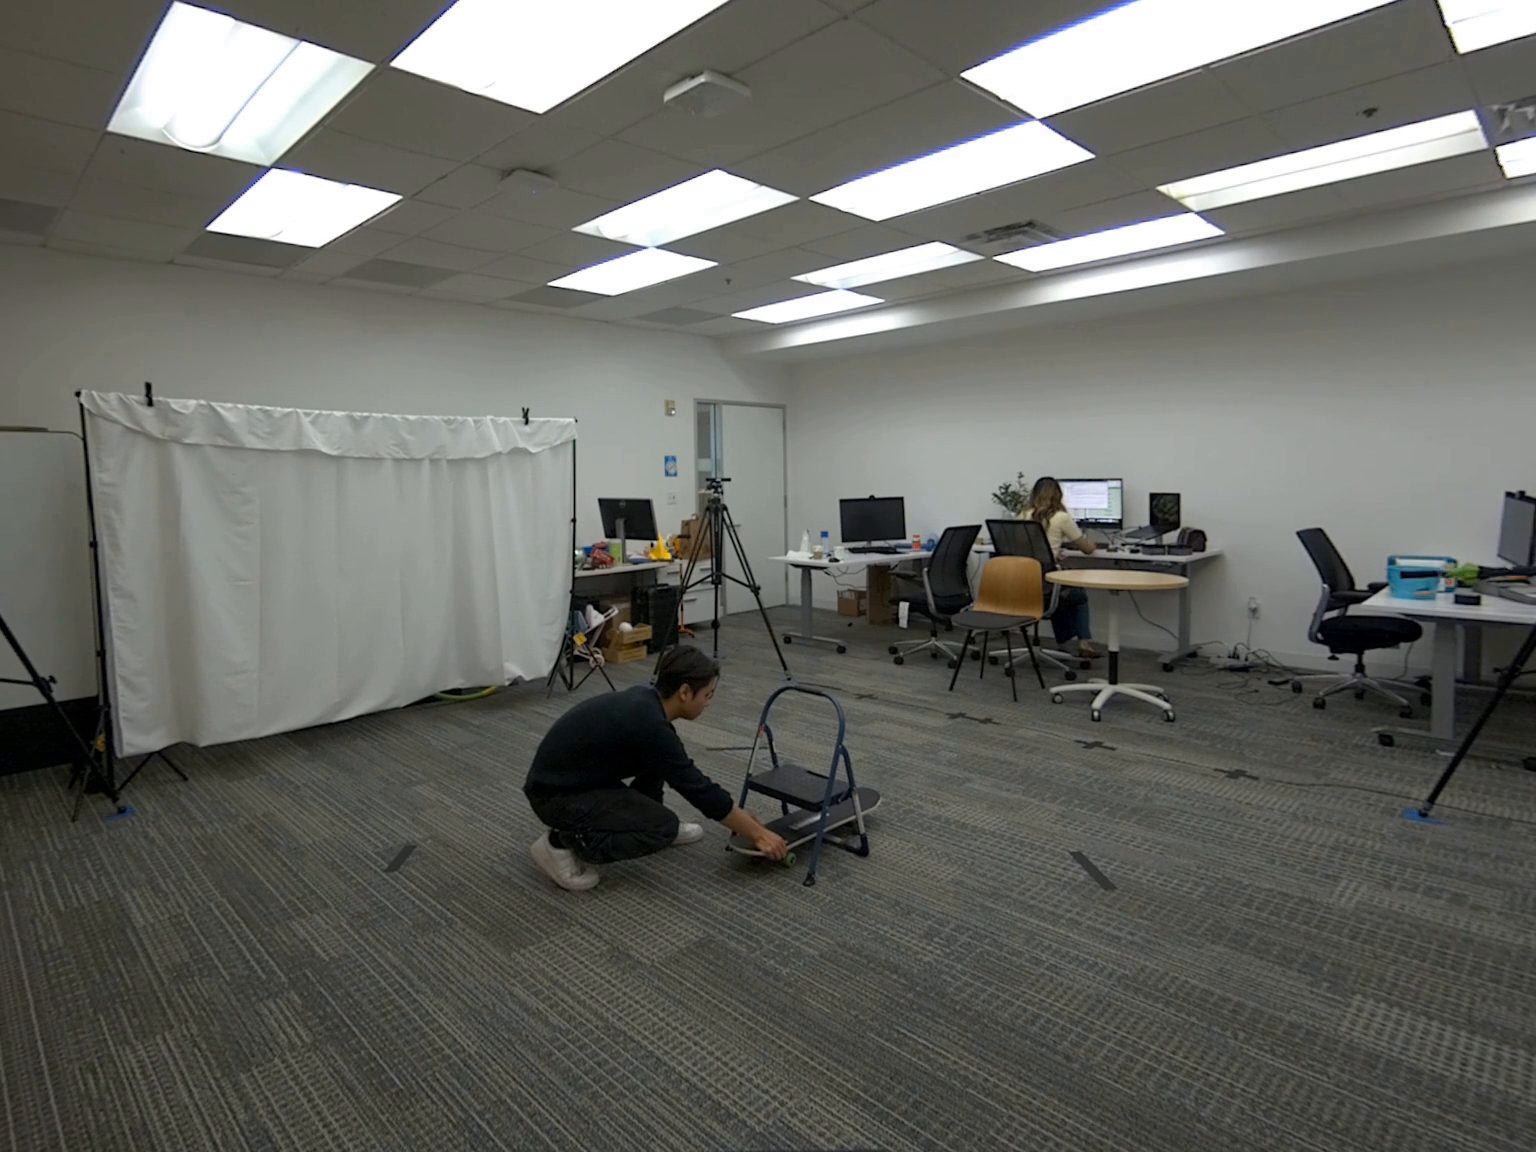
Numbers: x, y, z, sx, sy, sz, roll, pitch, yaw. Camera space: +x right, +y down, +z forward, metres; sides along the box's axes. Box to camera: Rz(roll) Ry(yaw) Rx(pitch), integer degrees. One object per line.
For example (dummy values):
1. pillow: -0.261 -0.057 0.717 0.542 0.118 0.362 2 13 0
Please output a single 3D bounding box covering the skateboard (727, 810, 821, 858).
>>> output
1. skateboard: 0.154 0.956 3.267 0.765 0.110 0.199 -8 9 -44
